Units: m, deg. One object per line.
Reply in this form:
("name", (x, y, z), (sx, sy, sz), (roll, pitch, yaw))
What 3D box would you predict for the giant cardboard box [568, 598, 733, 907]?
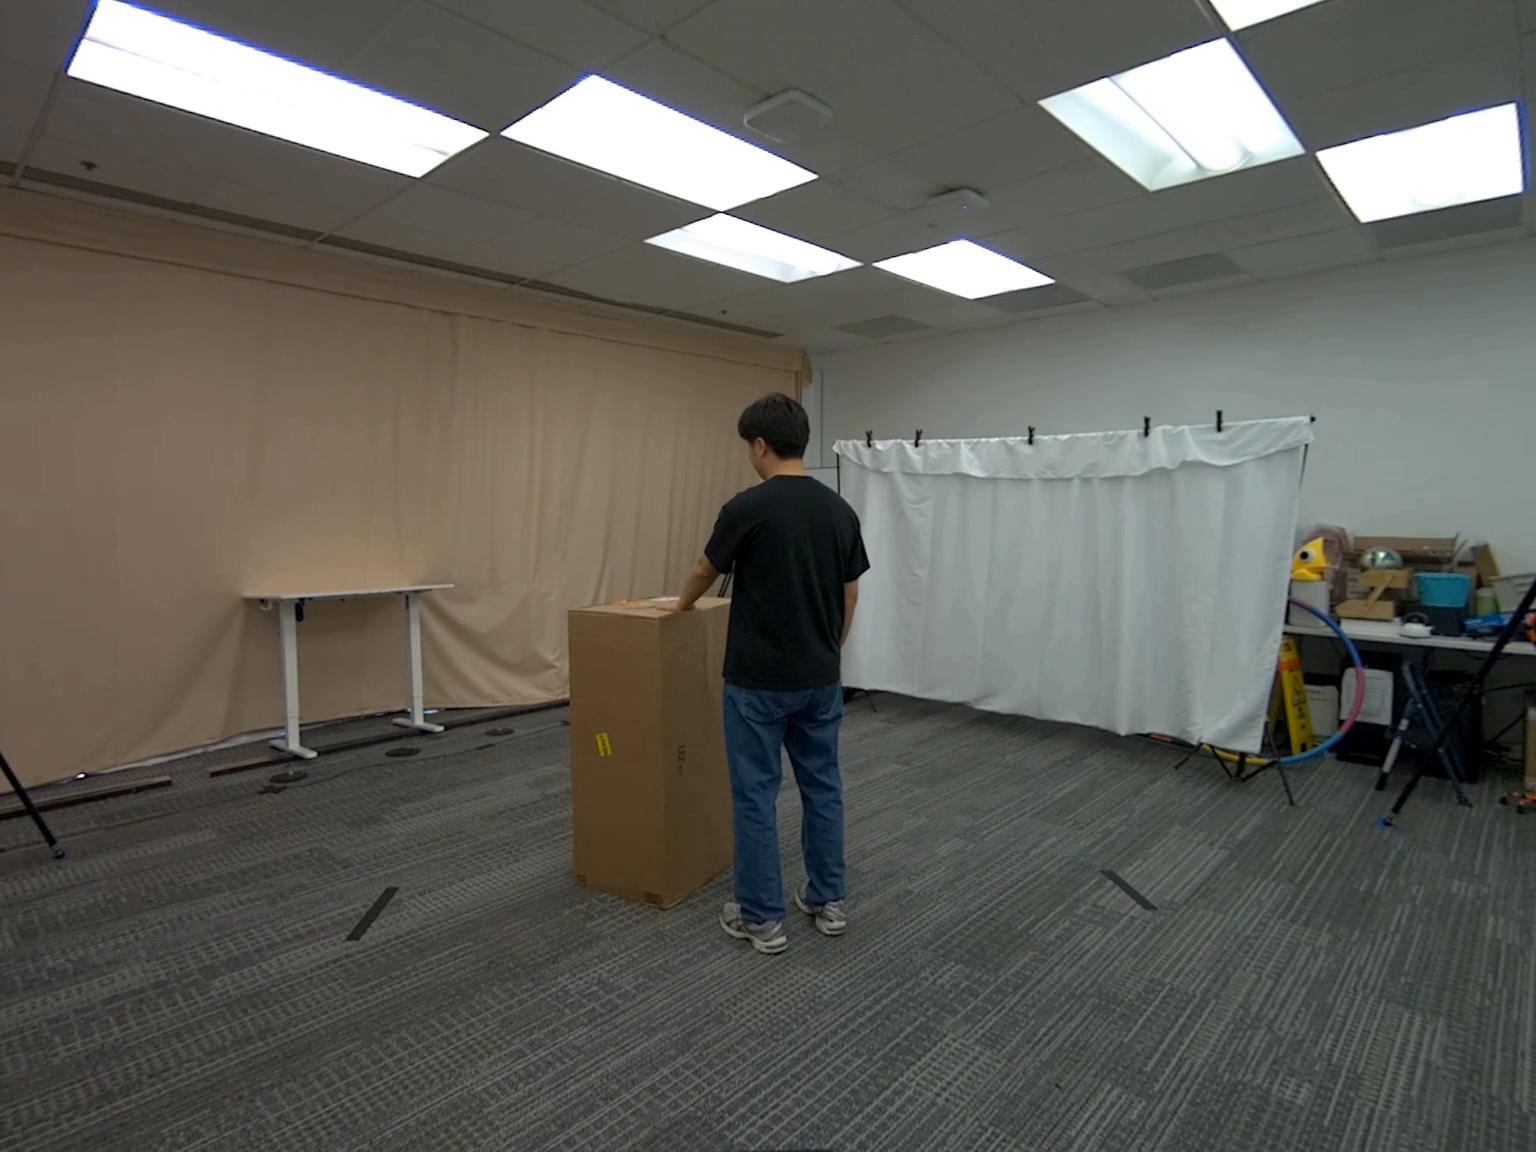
("giant cardboard box", (-0.406, 0.613, 3.229), (0.460, 1.025, 0.568), (1, 3, 32))
